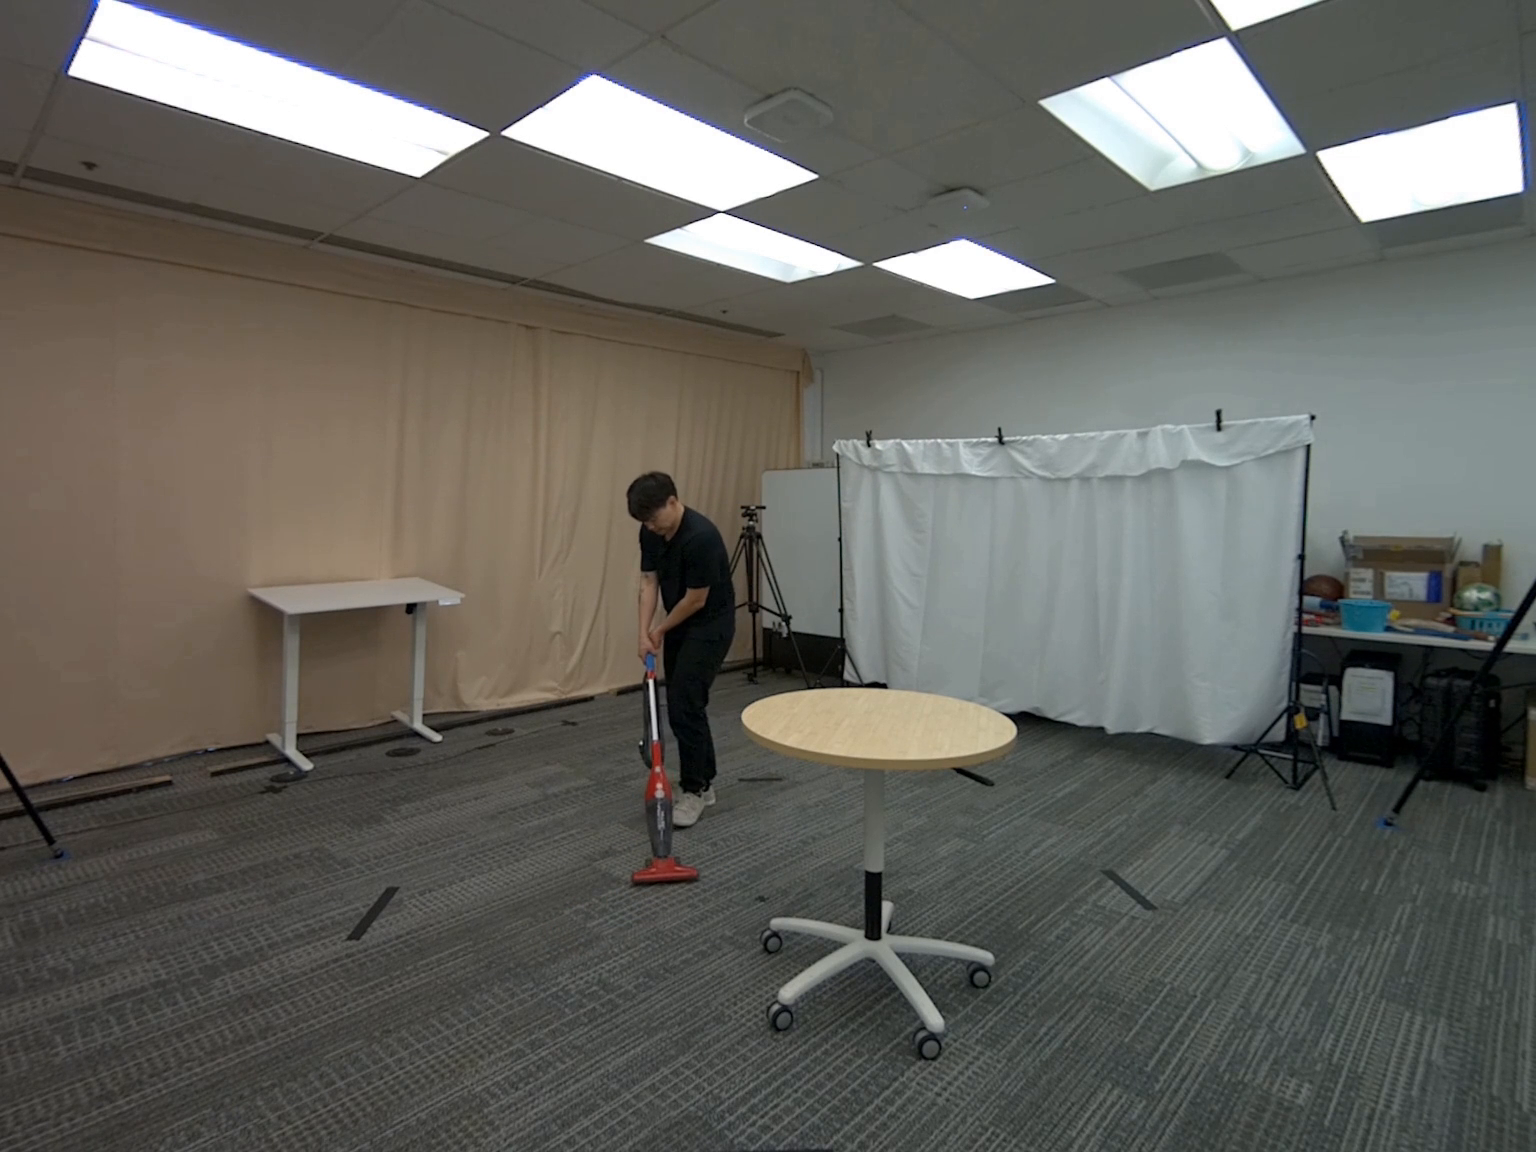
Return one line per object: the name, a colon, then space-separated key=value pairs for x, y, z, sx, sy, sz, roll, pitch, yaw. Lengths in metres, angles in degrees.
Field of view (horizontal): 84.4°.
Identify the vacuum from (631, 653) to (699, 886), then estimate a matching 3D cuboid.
vacuum: x=-0.465 y=0.715 z=3.482 sx=0.250 sy=1.075 sz=0.142 roll=-3 pitch=-41 yaw=-11
